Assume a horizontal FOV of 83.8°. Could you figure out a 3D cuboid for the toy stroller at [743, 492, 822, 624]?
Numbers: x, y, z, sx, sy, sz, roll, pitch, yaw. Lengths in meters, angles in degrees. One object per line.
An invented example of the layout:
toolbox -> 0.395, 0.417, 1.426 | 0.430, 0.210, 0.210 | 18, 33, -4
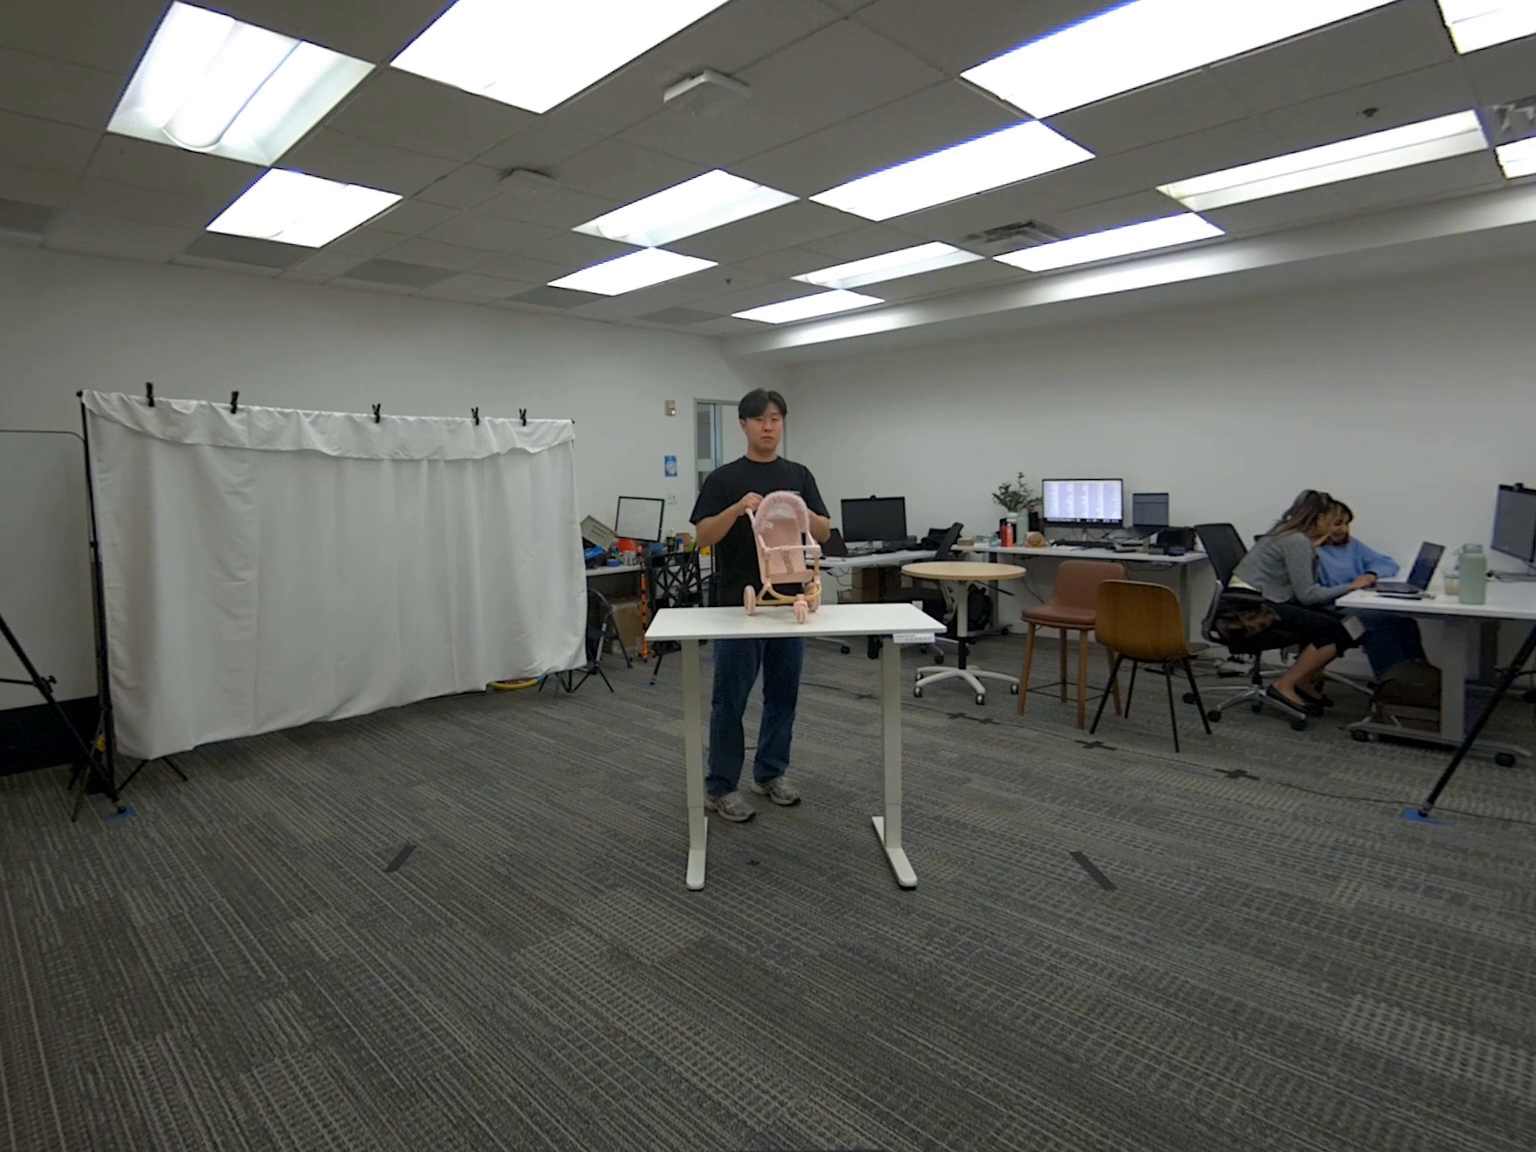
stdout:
toy stroller -> 0.061, -0.073, 3.171 | 0.279, 0.541, 0.340 | -3, -11, -10
